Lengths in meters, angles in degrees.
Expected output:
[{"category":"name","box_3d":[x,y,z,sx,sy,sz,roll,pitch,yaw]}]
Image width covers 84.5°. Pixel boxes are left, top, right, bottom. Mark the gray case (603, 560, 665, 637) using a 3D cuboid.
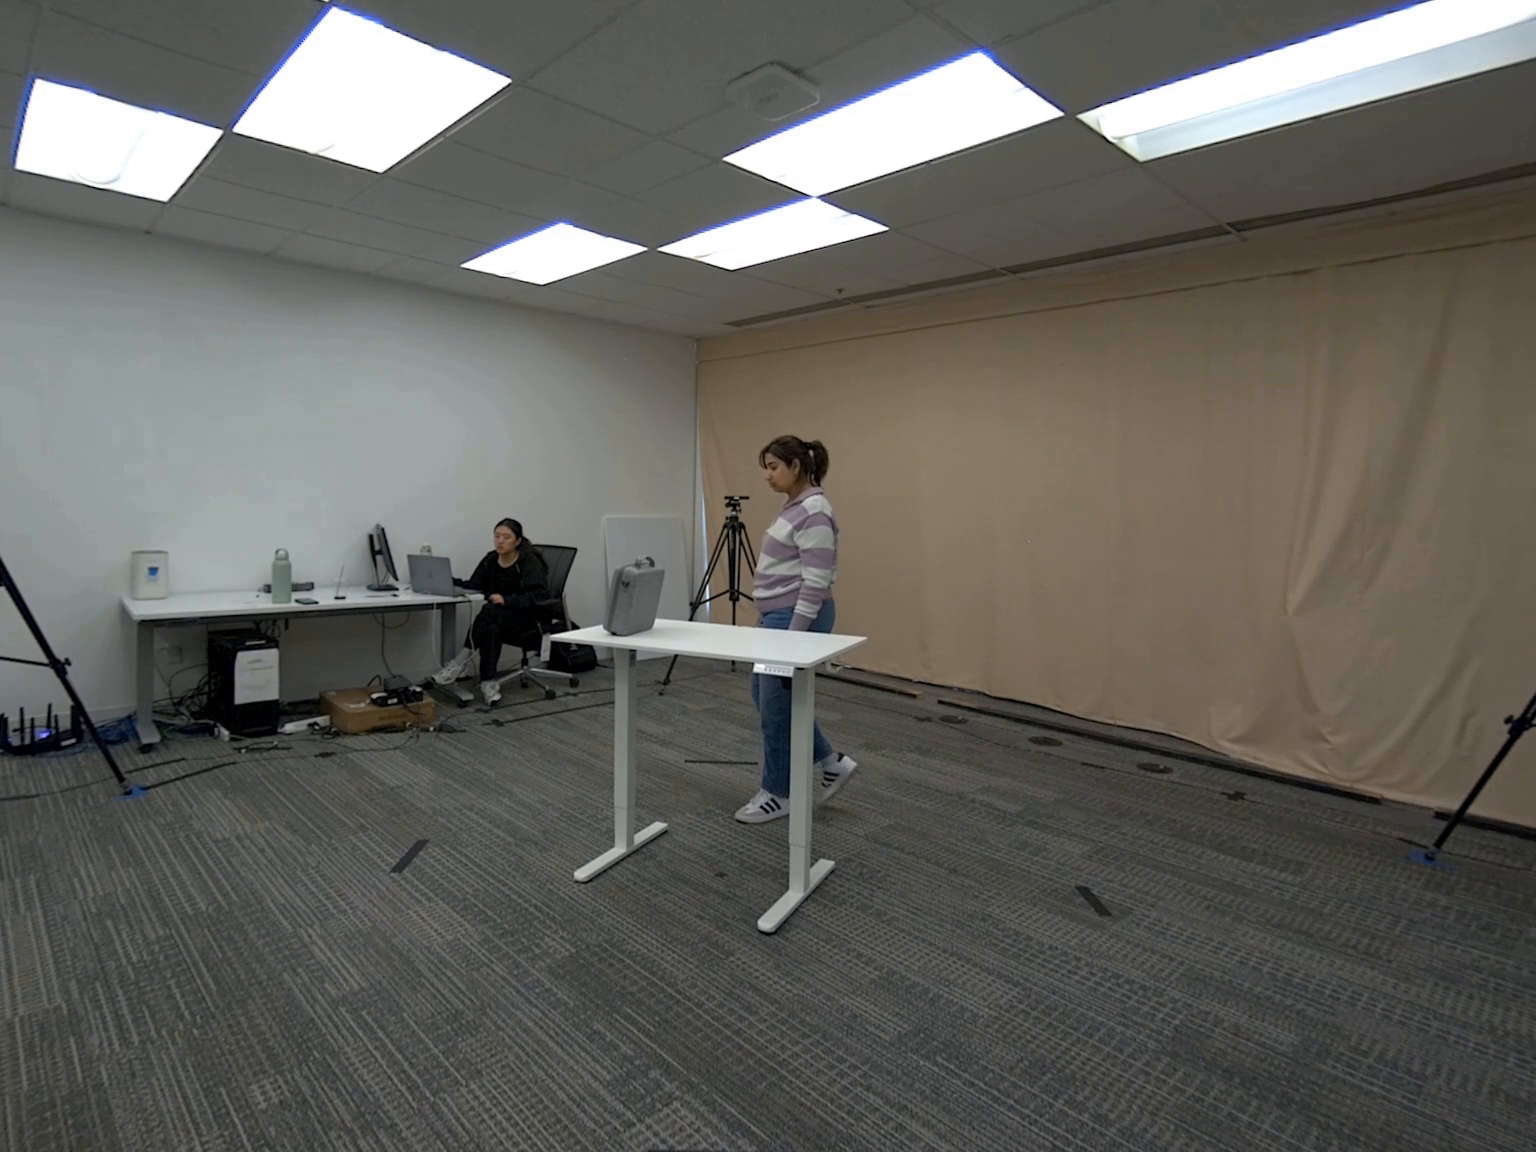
[{"category":"gray case","box_3d":[-0.513,0.081,3.142,0.106,0.259,0.254,13,8,16]}]
